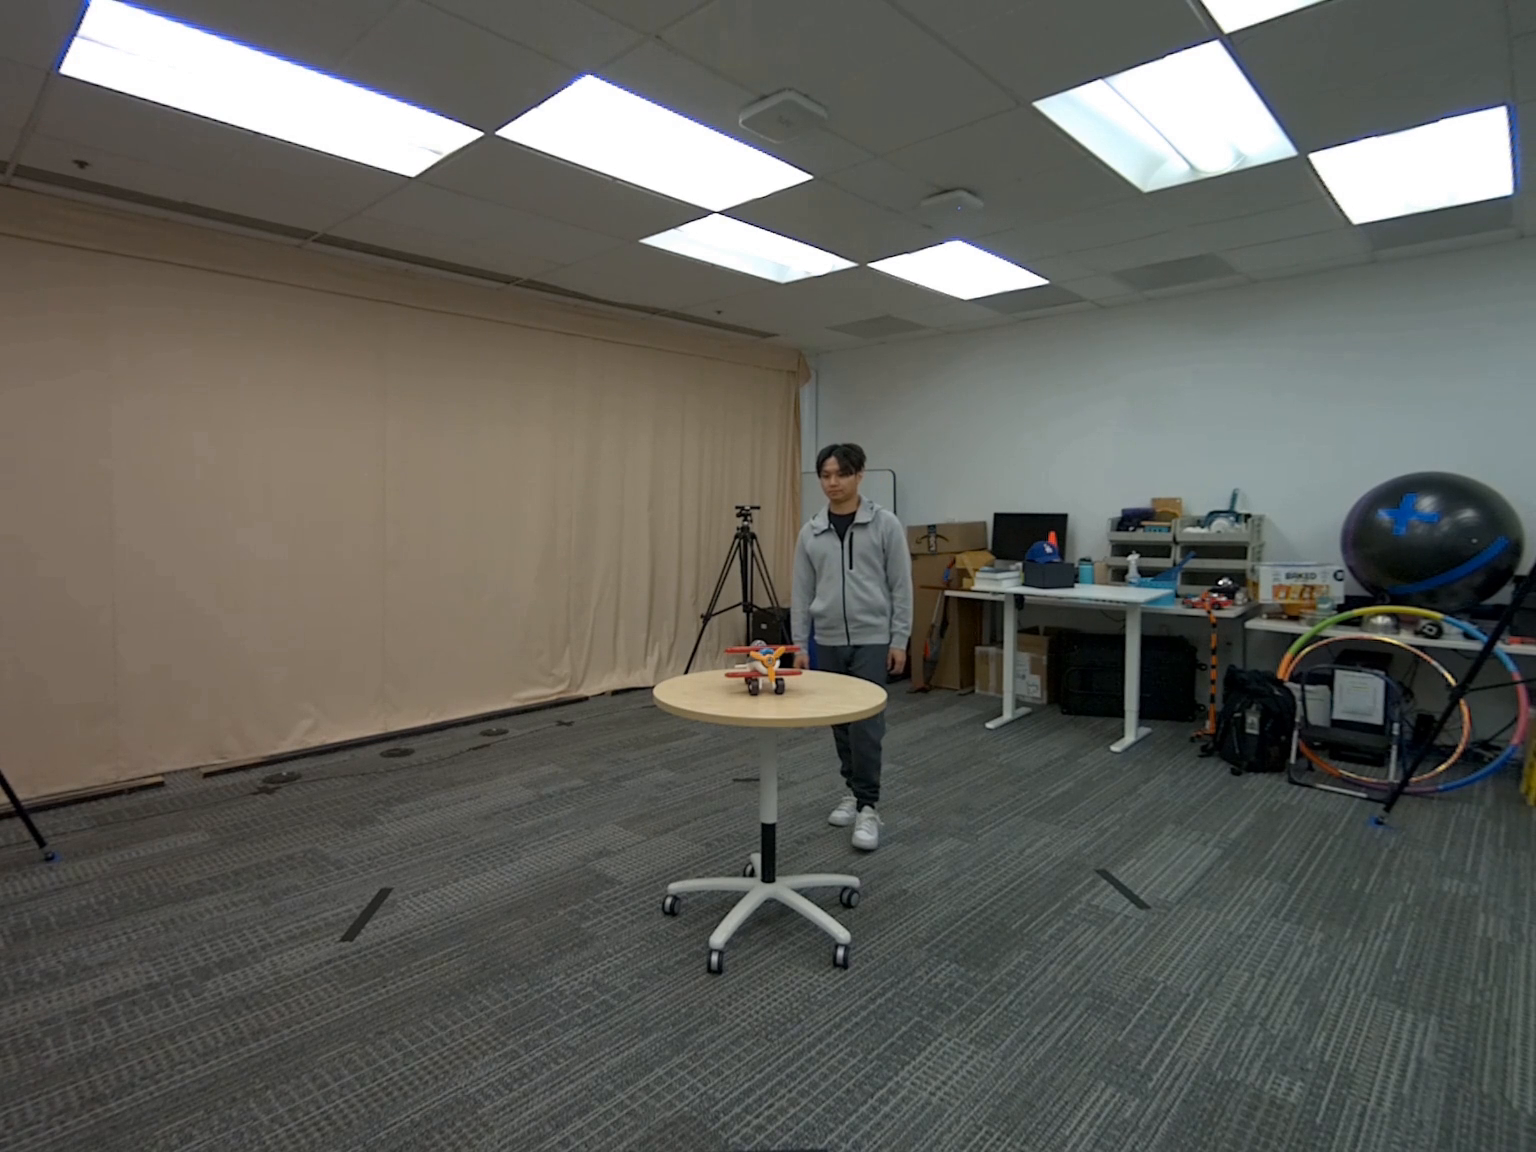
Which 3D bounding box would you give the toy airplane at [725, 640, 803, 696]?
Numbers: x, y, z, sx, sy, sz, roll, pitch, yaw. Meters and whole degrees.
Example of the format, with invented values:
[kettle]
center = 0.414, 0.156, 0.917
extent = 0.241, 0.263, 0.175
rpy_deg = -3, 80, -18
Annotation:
[toy airplane]
center = -0.041, 0.300, 2.785
extent = 0.243, 0.156, 0.268
rpy_deg = -5, 7, -39
